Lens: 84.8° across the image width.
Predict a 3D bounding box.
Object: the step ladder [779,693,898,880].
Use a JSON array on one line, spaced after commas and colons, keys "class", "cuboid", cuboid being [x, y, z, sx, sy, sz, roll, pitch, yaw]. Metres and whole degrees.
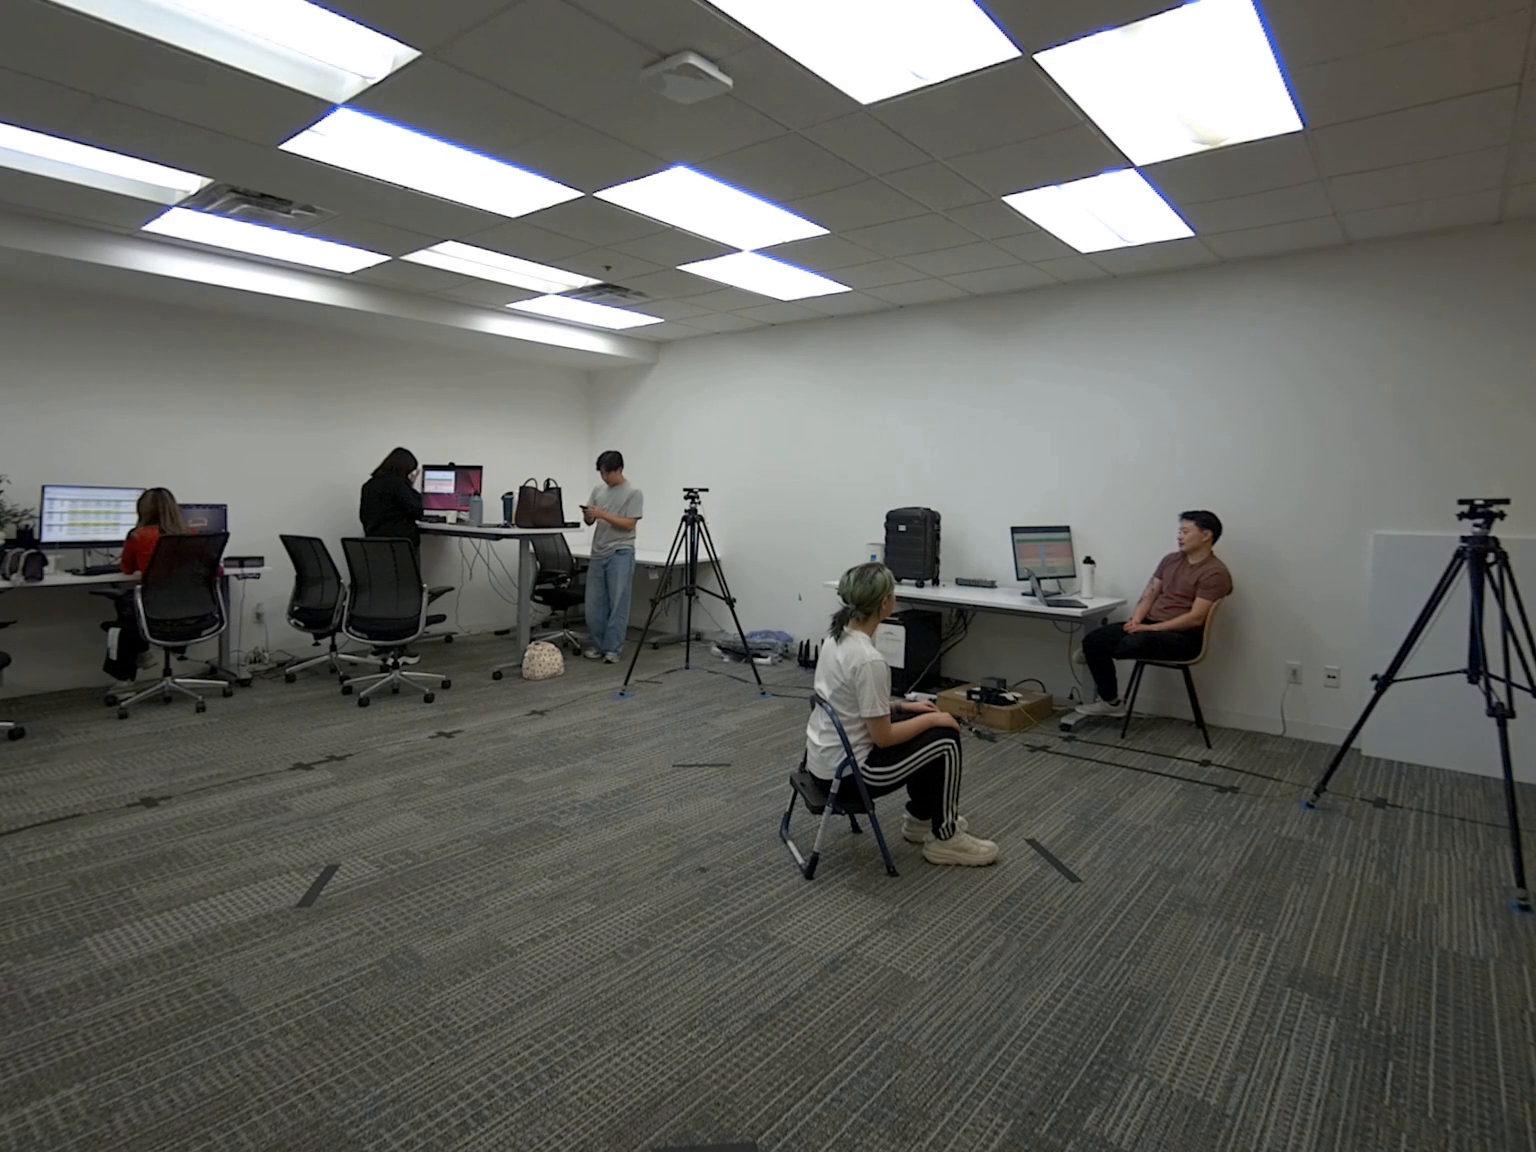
[{"class": "step ladder", "cuboid": [0.257, 0.770, 3.258, 0.345, 0.604, 0.437, 2, 4, -13]}]
